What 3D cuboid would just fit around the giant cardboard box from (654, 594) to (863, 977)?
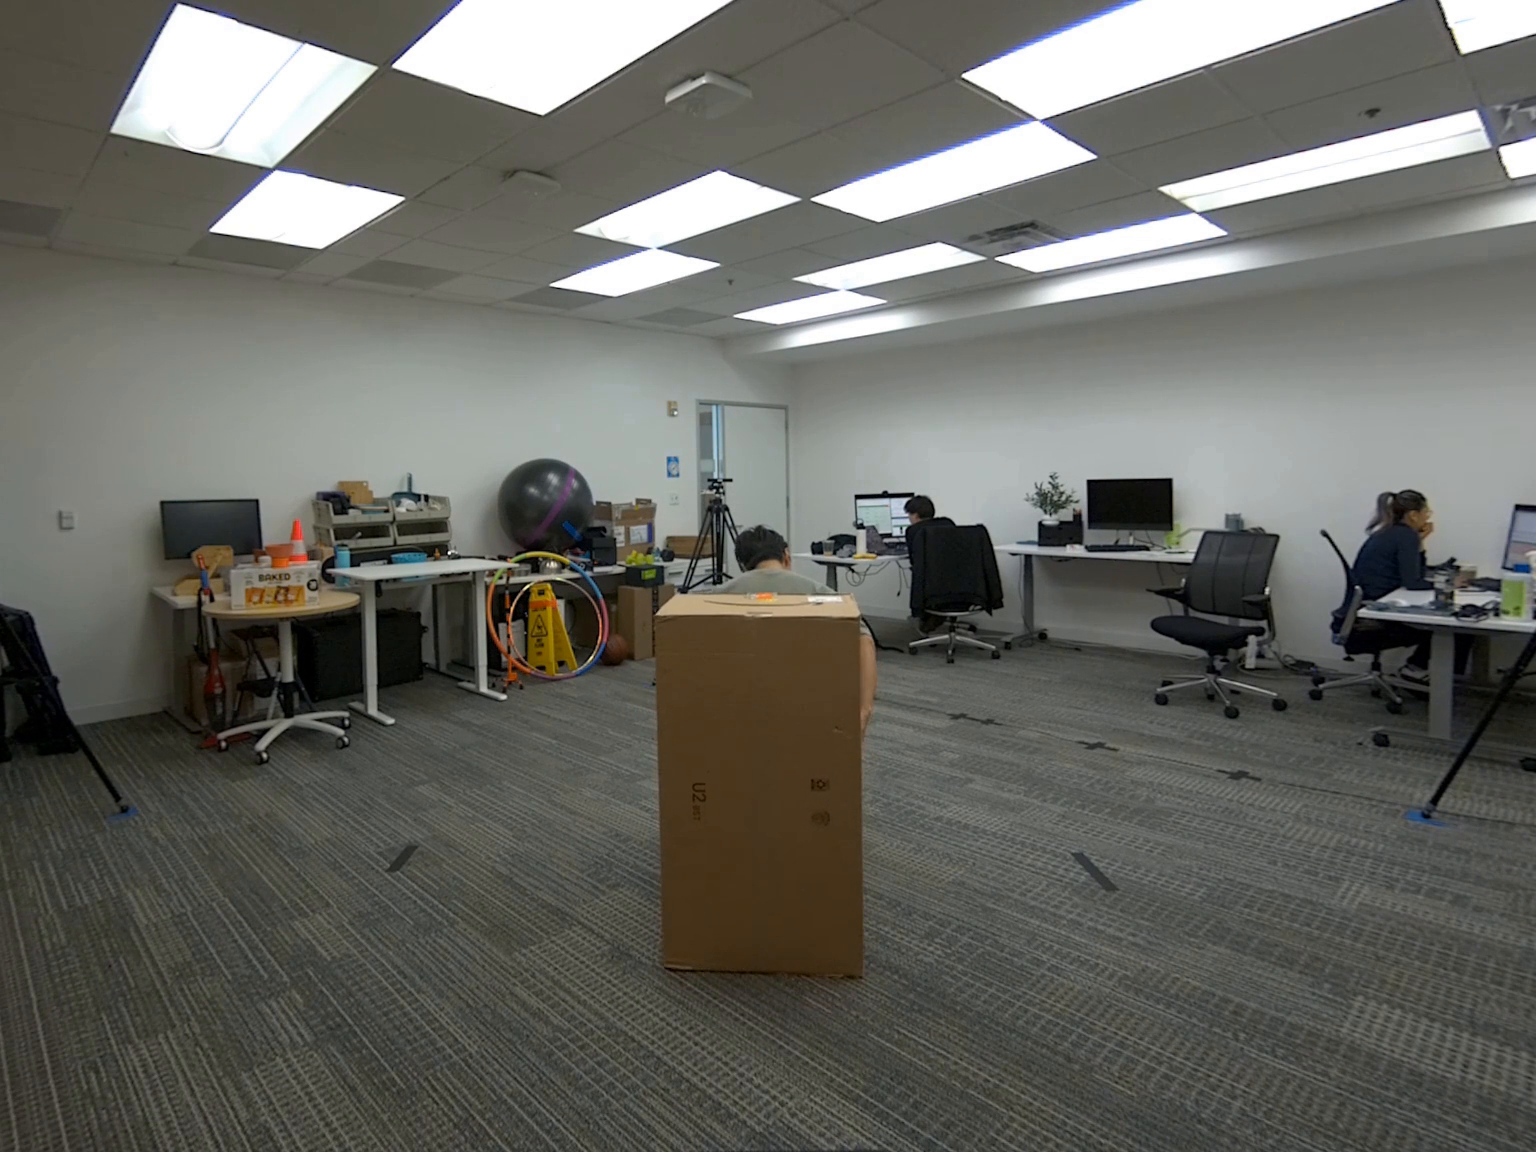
[{"bbox_3d":[-0.011,0.586,2.583,0.580,1.021,0.426,-1,5,4],"label":"giant cardboard box"}]
